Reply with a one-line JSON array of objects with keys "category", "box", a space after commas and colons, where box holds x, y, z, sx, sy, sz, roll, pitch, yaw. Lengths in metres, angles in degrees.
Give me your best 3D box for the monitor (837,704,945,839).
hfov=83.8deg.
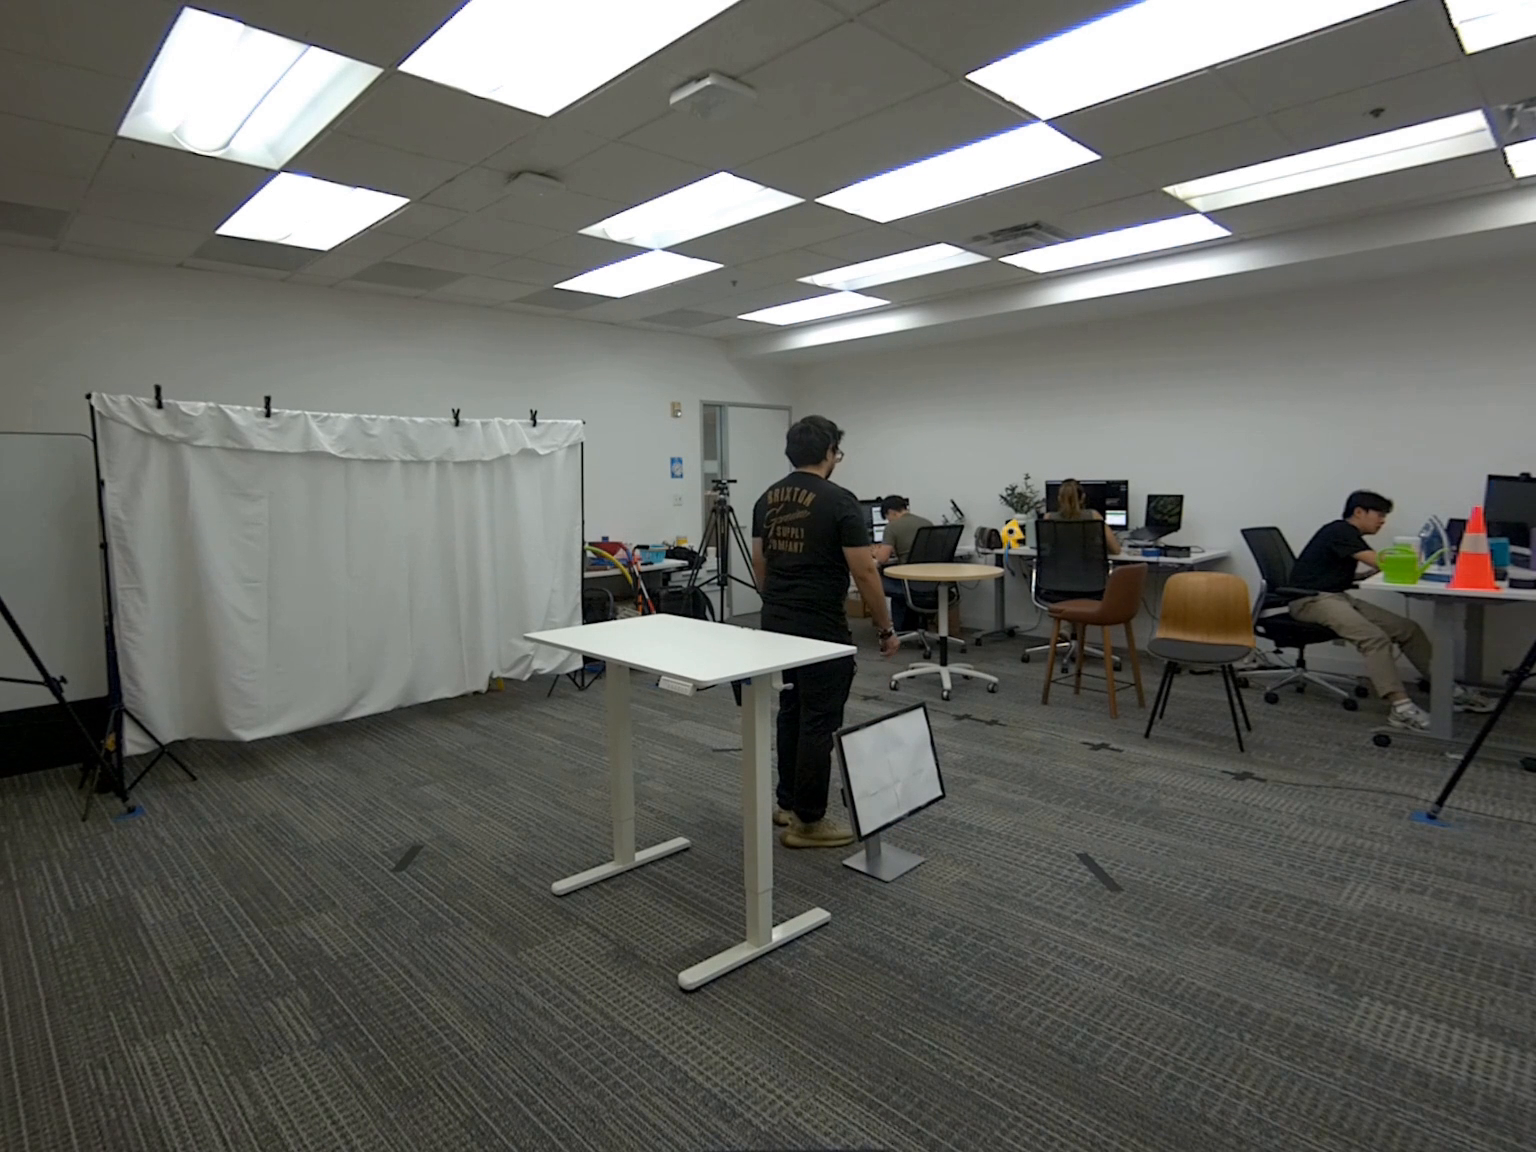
[{"category": "monitor", "box": [0.394, 0.772, 3.095, 0.215, 0.554, 0.550, -6, 0, 44]}]
